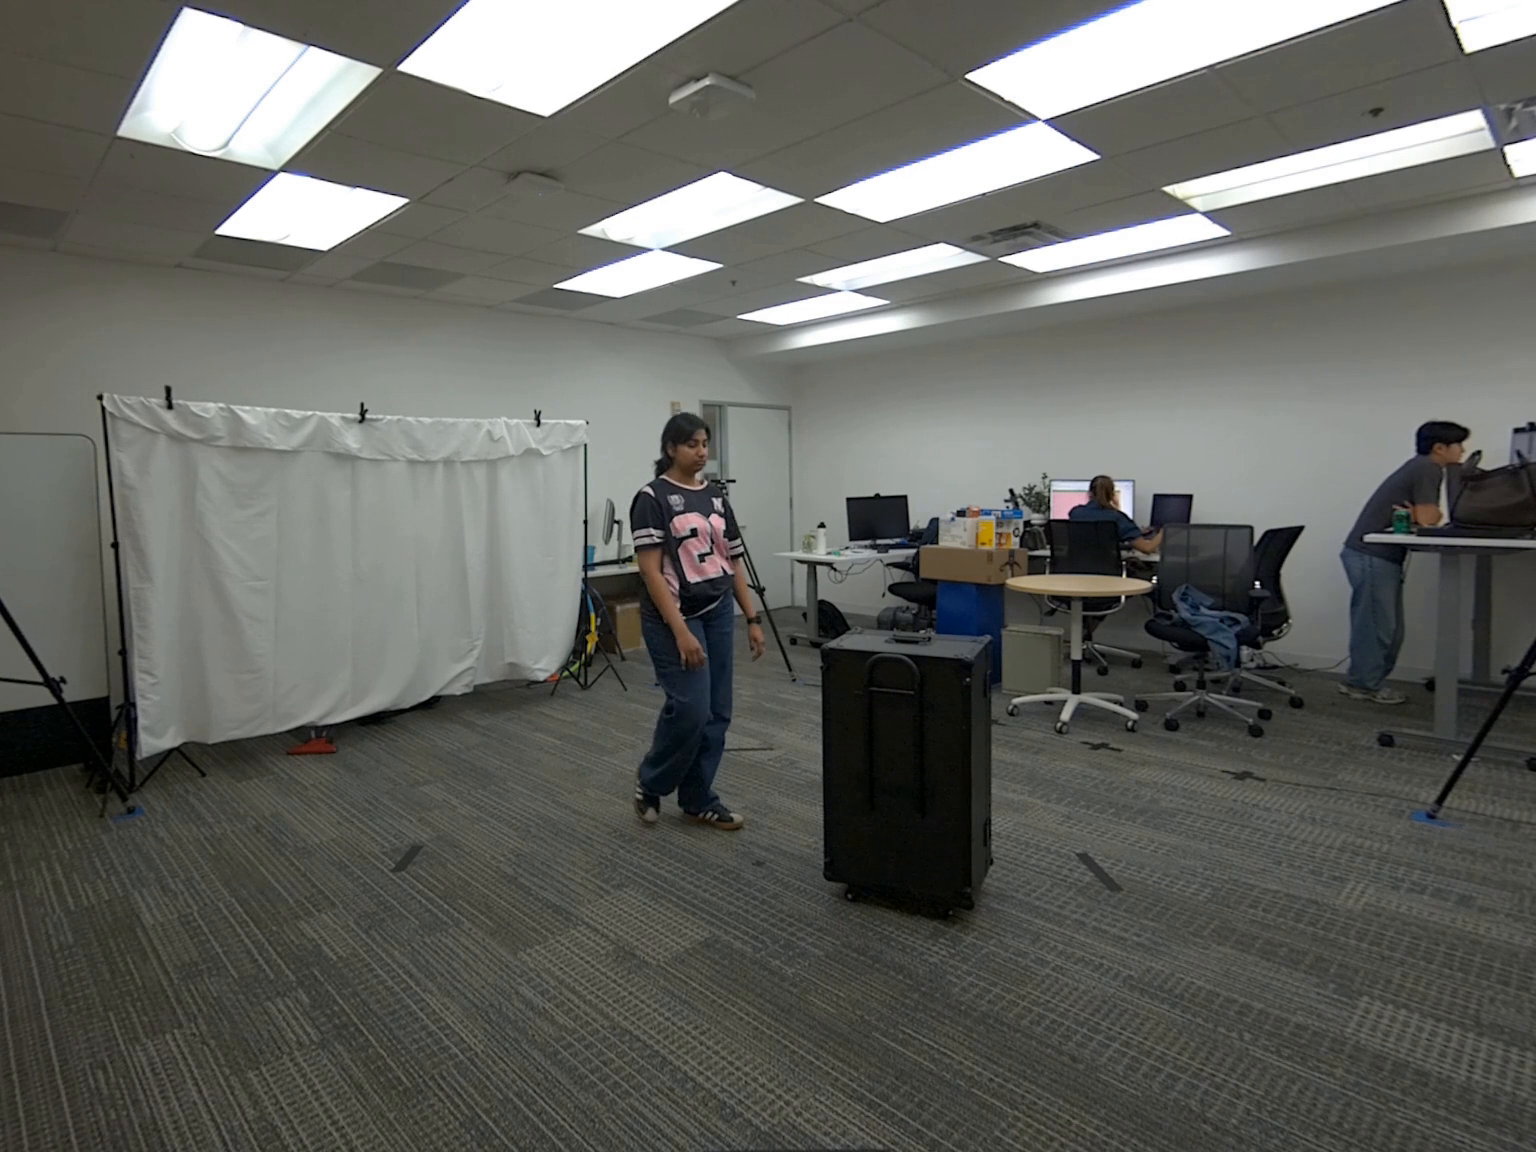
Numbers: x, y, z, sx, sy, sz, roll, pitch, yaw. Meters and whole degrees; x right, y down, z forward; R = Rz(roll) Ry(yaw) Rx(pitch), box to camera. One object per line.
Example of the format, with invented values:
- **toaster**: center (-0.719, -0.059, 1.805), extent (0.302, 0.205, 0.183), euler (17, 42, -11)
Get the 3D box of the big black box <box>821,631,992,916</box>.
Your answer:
- **big black box**: center (0.475, 0.643, 2.837), extent (0.536, 0.865, 0.378), euler (1, 5, 26)
